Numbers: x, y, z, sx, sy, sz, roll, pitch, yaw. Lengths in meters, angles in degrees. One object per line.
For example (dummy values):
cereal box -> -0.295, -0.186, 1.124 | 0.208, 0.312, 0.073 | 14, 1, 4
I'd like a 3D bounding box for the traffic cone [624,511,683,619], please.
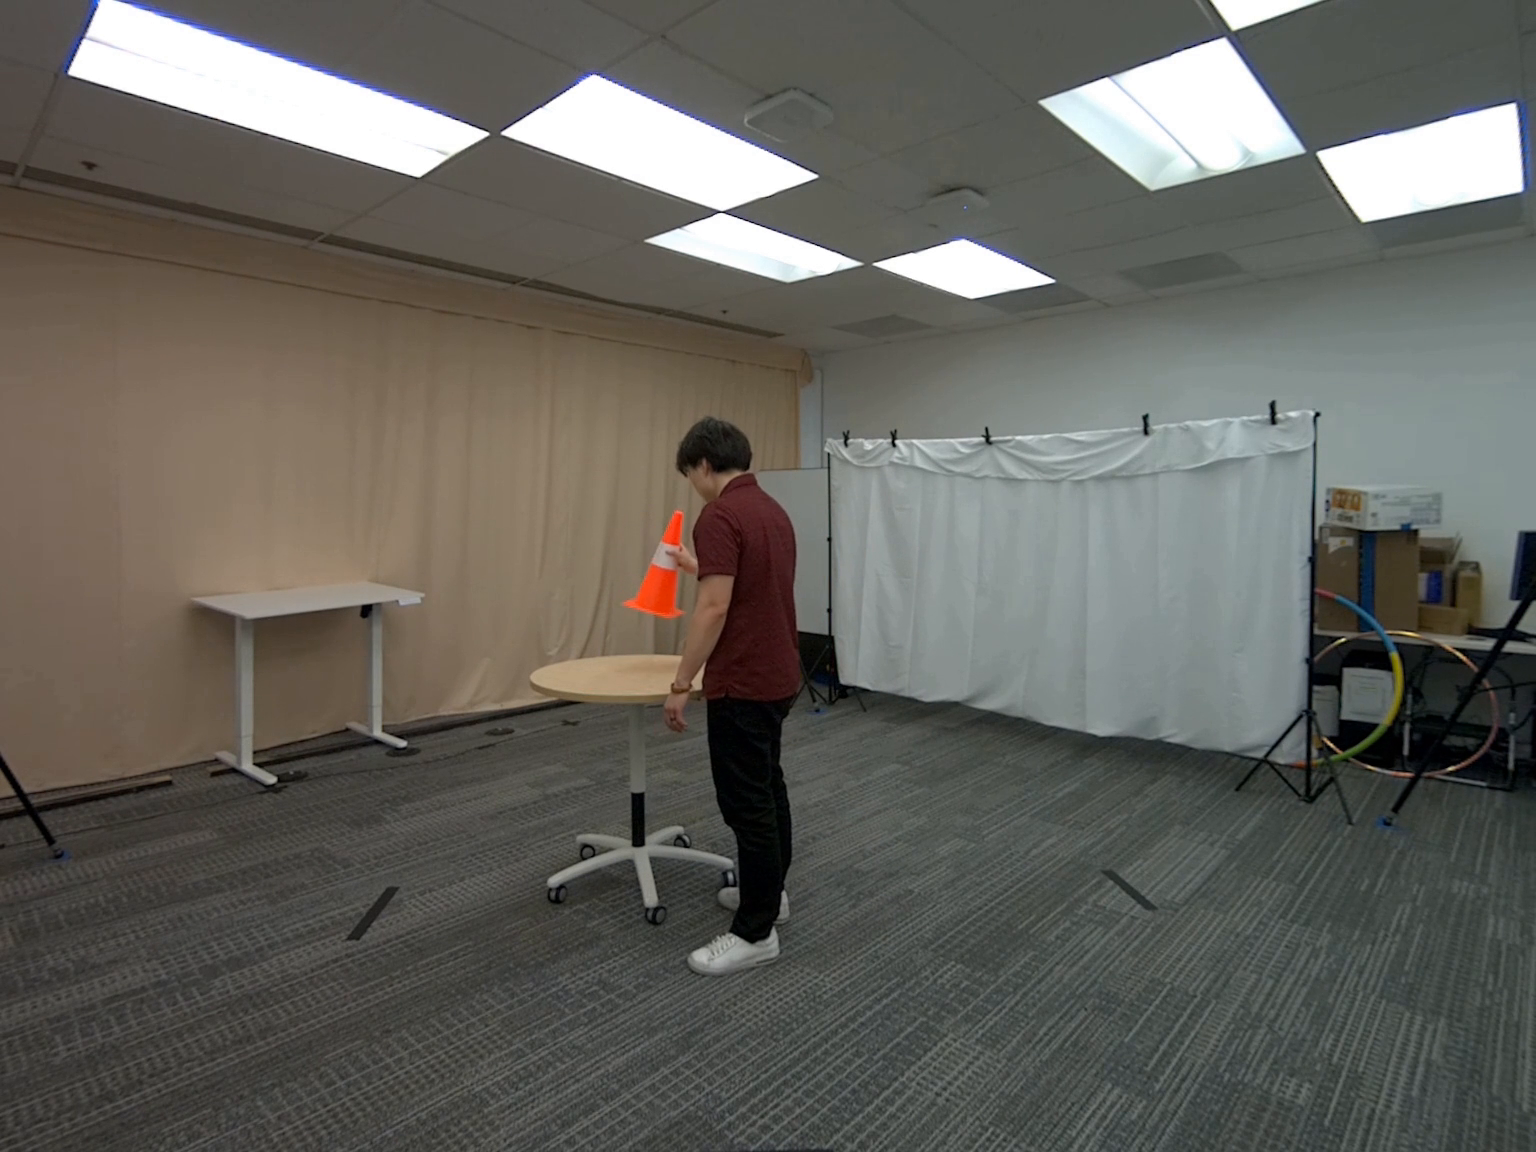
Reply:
traffic cone -> -0.382, -0.059, 3.178 | 0.210, 0.382, 0.199 | 19, 9, 19
